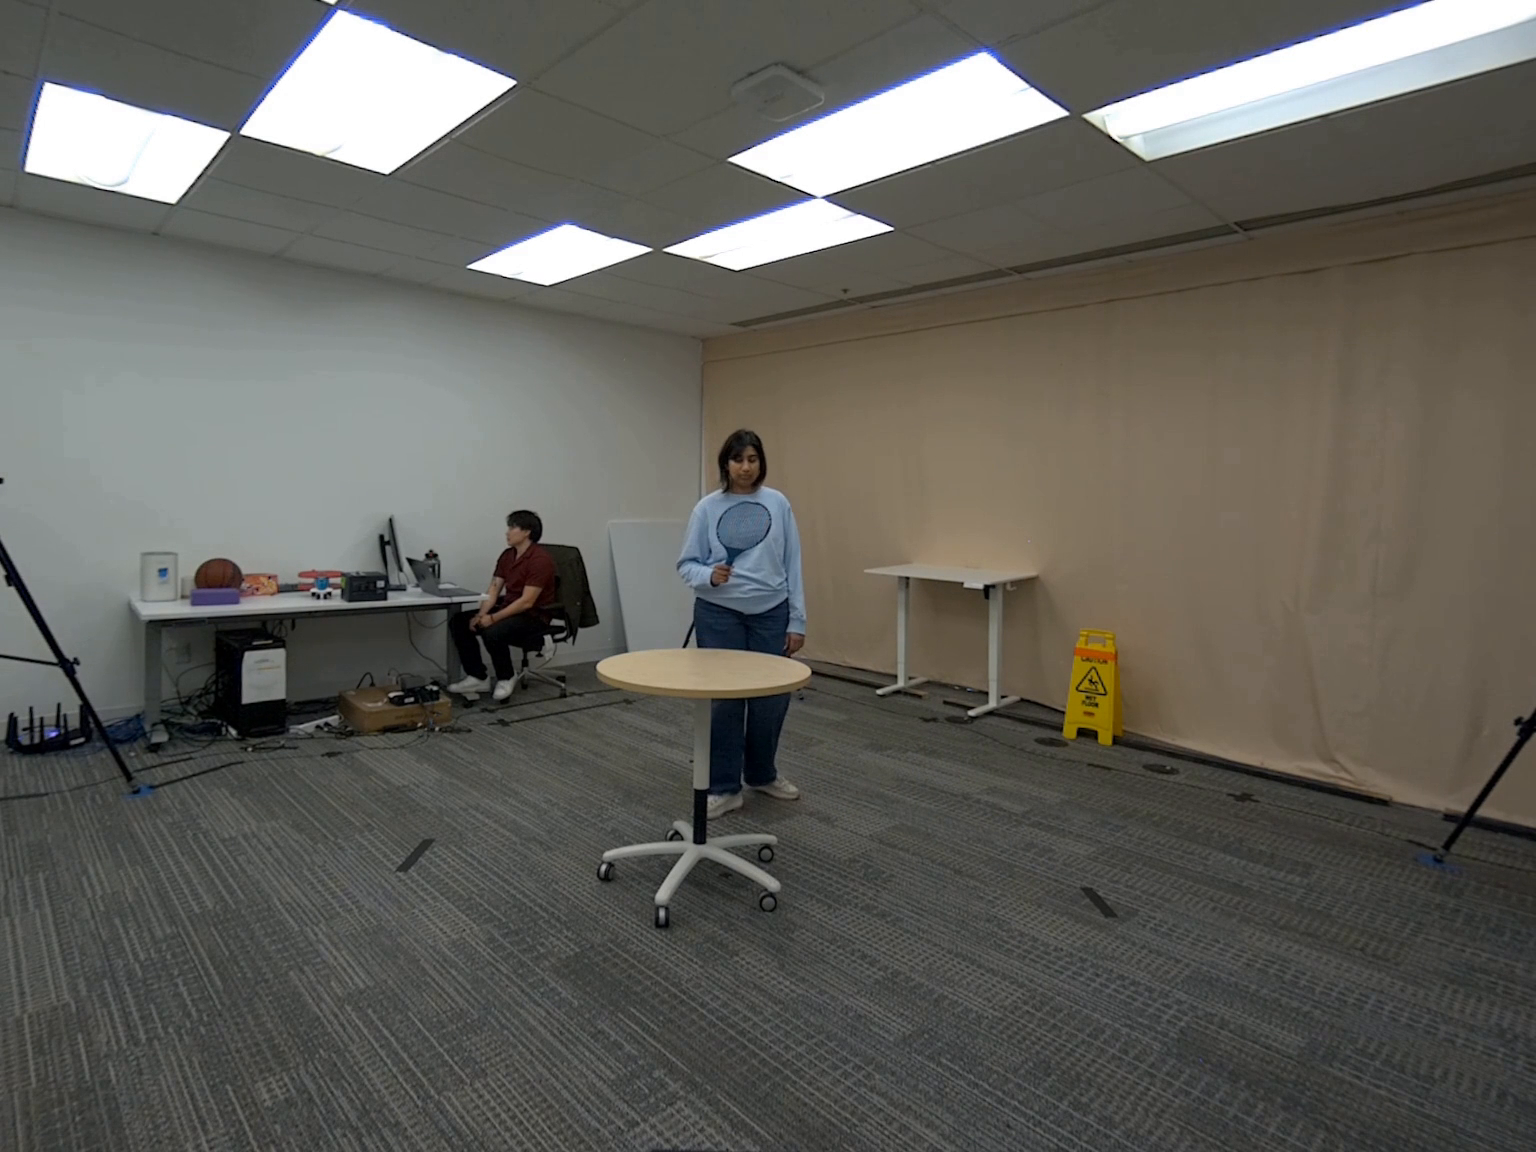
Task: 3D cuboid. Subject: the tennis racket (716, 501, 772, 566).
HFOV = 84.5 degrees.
[{"bbox_3d":[-0.135,-0.142,3.378,0.211,0.427,0.032,6,40,-14],"label":"tennis racket"}]
